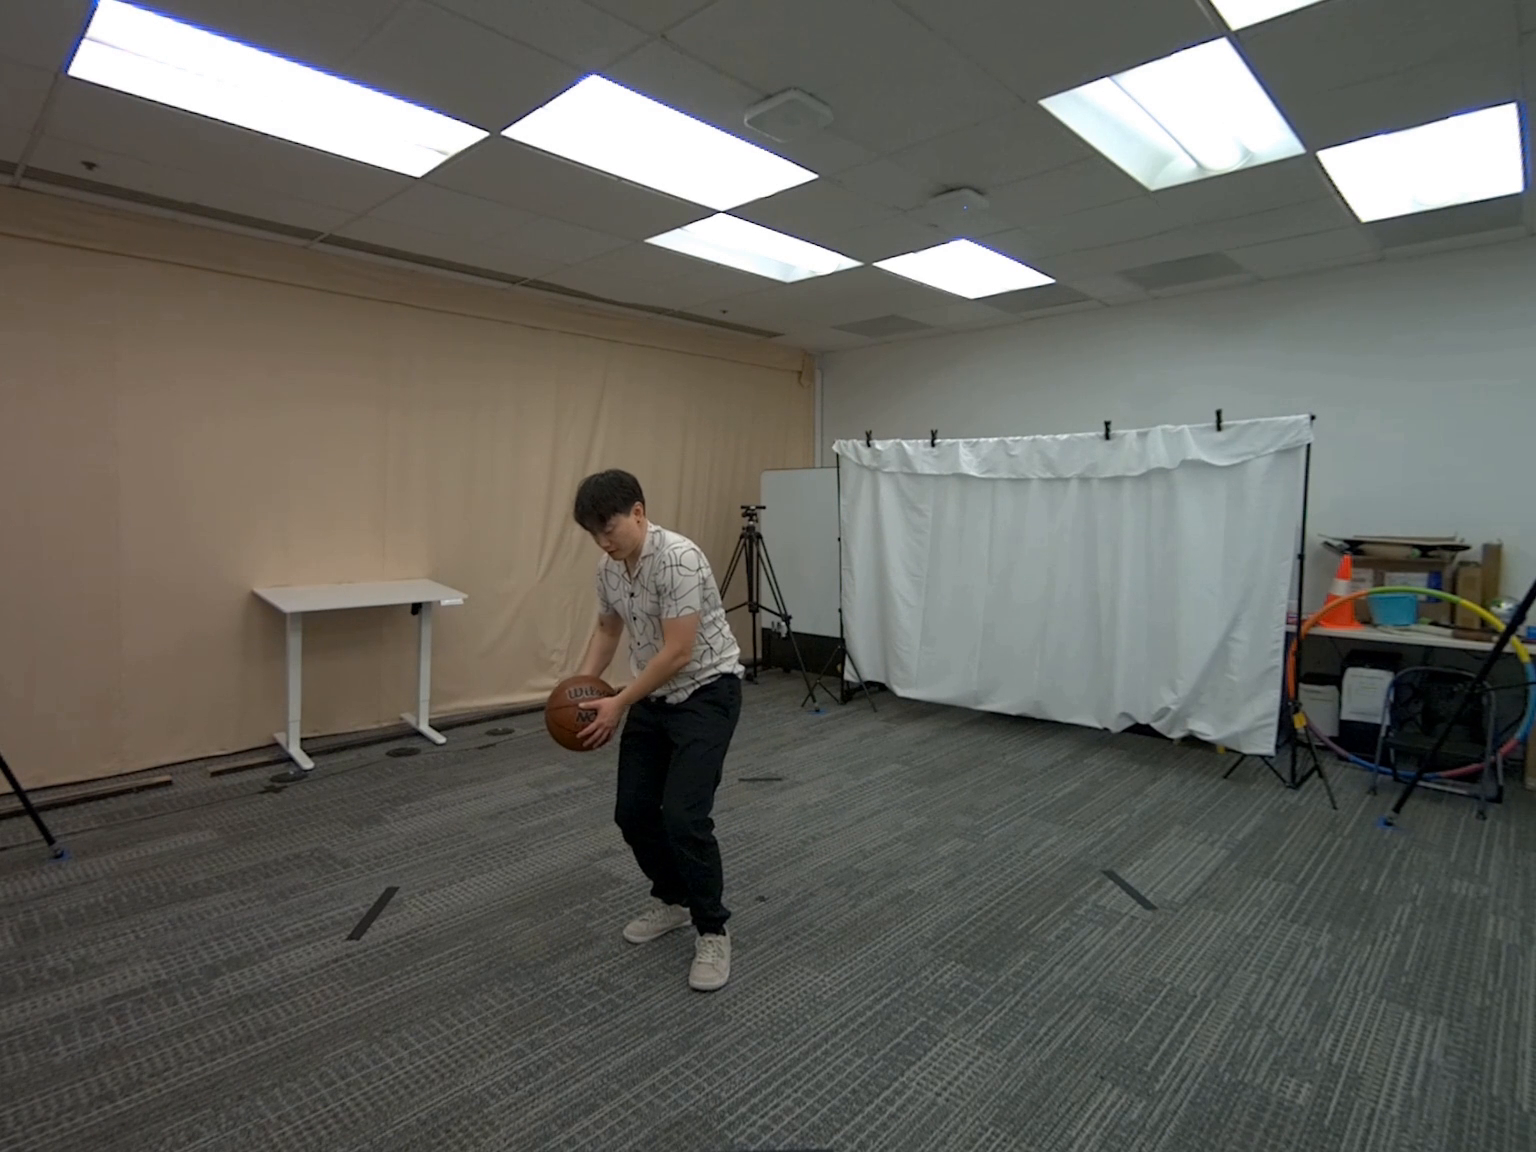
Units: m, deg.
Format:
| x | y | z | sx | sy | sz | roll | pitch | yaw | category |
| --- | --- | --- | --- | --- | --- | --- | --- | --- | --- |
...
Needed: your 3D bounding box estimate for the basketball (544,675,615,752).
| x | y | z | sx | sy | sz | roll | pitch | yaw | category |
| --- | --- | --- | --- | --- | --- | --- | --- | --- | --- |
| -0.579 | 0.434 | 2.660 | 0.236 | 0.235 | 0.237 | 0 | 4 | -2 | basketball |
